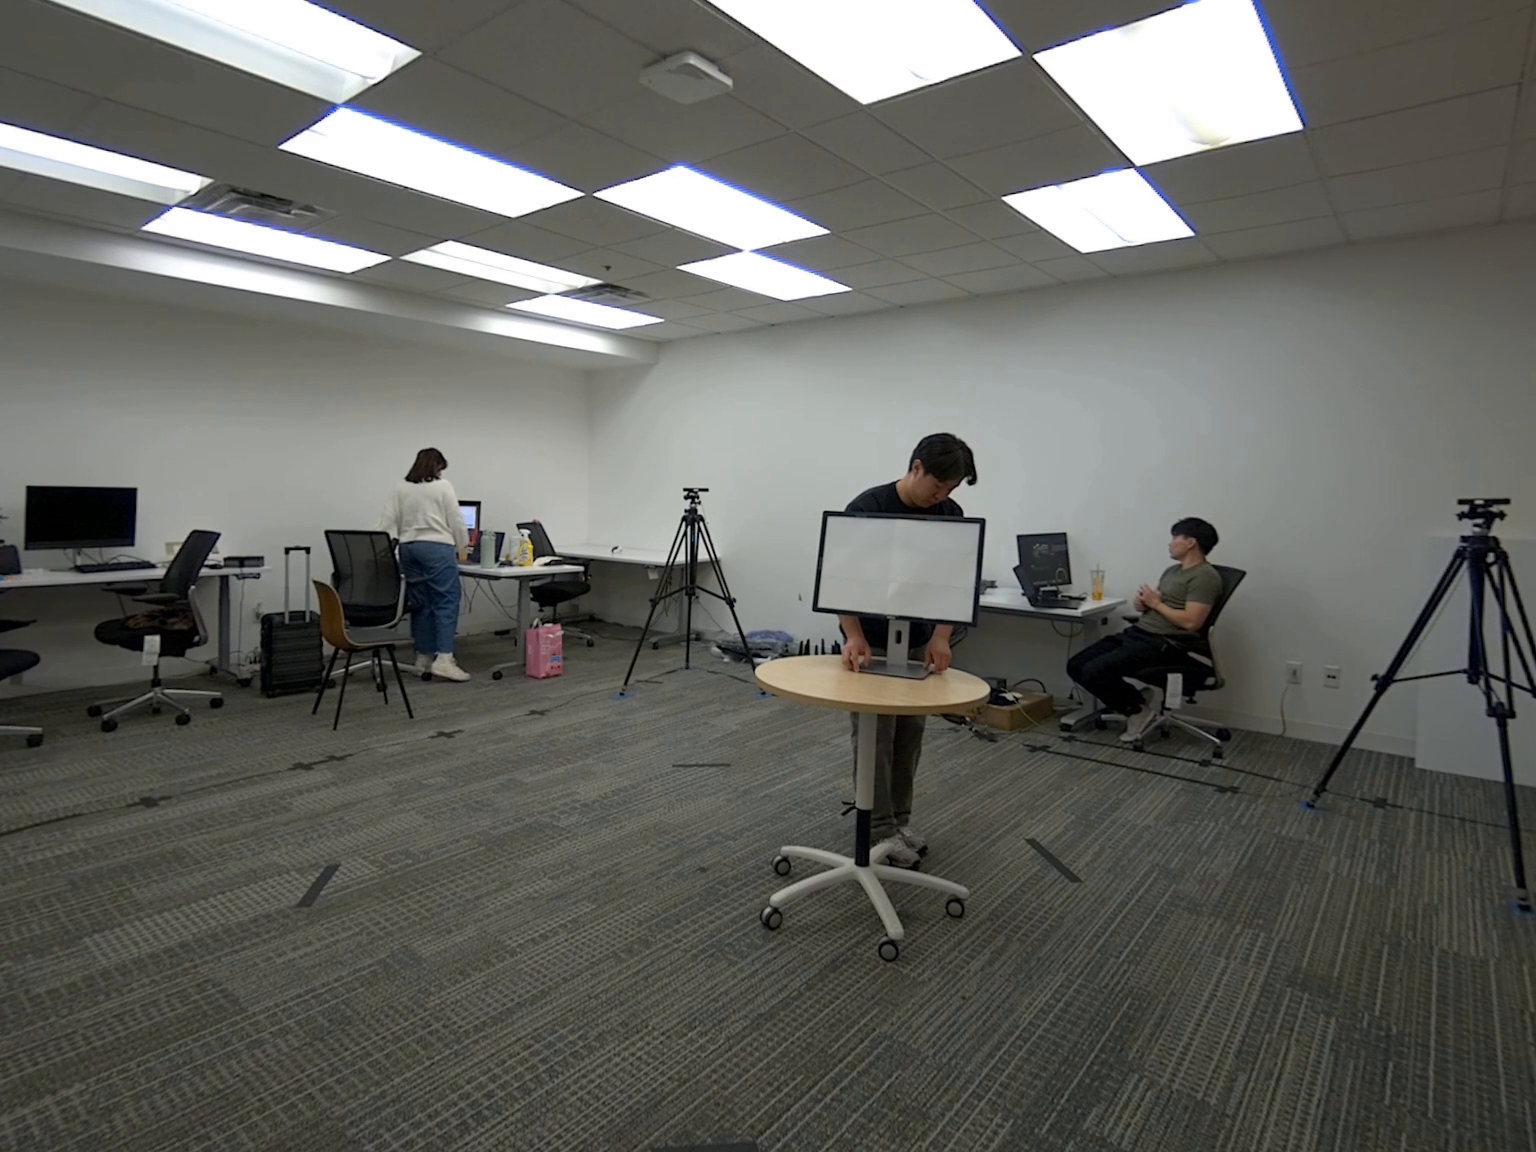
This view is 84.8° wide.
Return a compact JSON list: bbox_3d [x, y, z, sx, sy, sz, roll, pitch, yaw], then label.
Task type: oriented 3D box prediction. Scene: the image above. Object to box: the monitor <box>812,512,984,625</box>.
[{"bbox_3d":[0.441,0.063,2.932,0.577,0.563,0.217,4,5,26],"label":"monitor"}]
